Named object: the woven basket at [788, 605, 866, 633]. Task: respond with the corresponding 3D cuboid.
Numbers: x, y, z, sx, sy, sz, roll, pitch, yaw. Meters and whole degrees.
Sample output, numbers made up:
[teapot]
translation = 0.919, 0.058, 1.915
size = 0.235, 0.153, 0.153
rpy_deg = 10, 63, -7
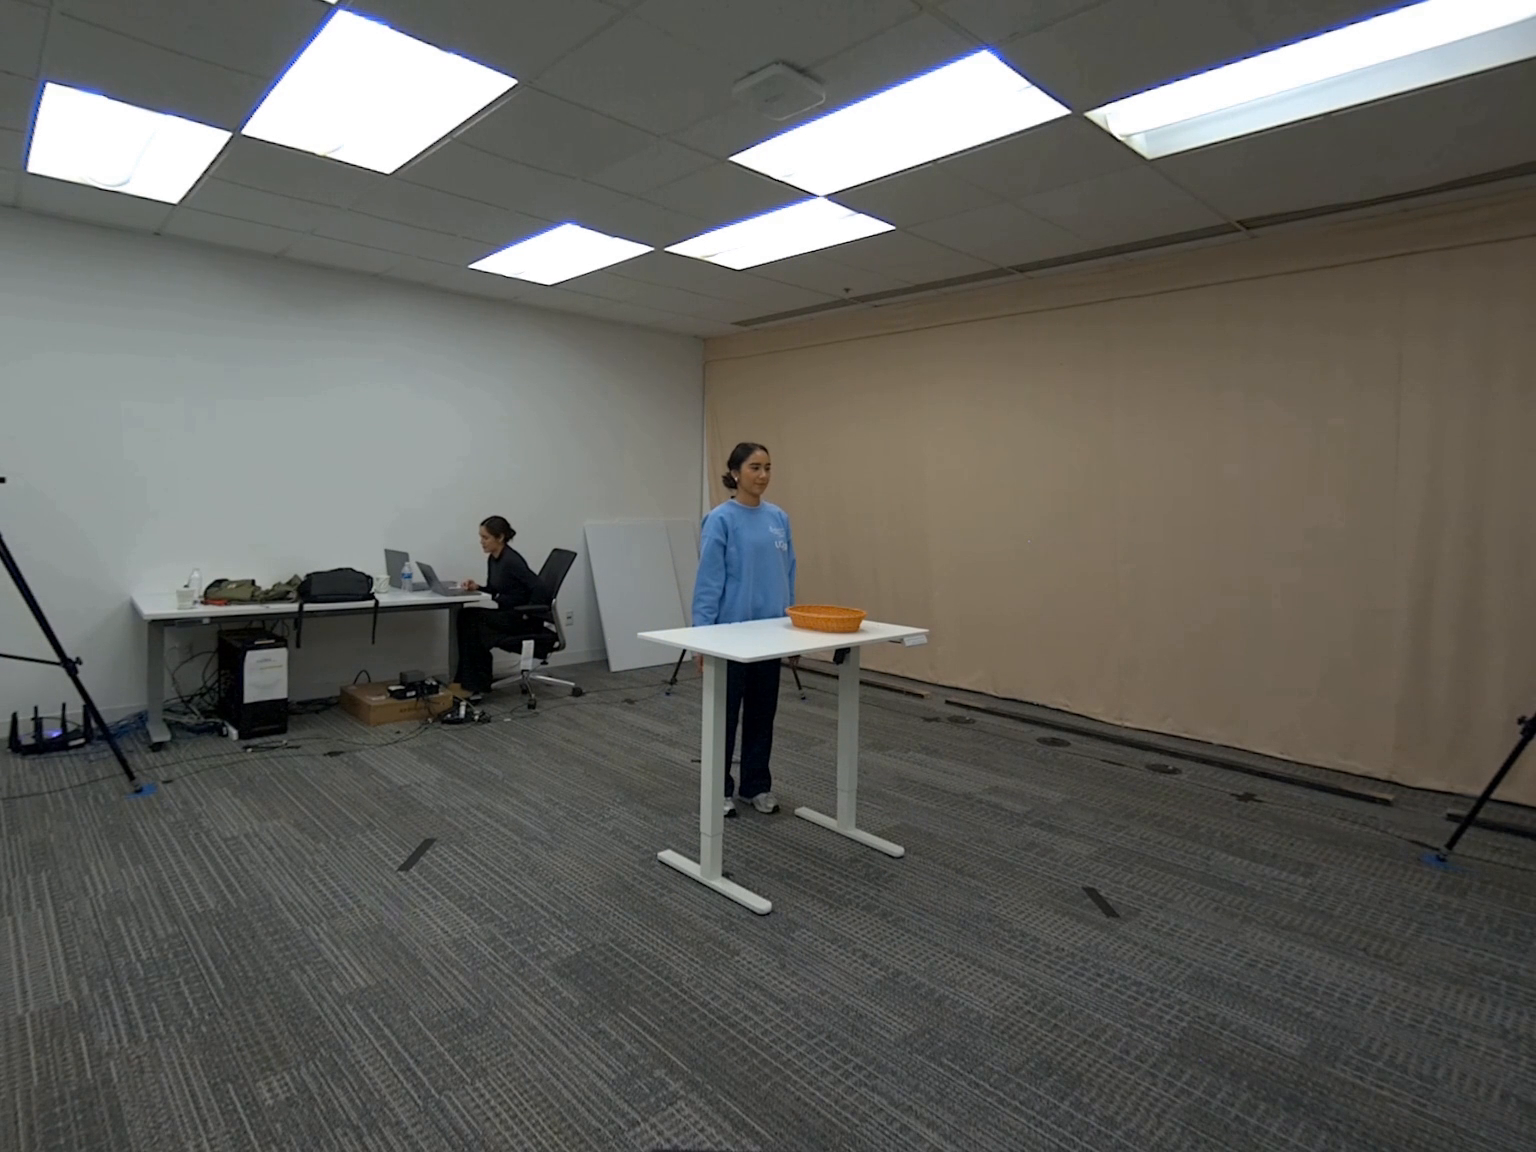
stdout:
[woven basket]
translation = 0.233, 0.180, 3.333
size = 0.247, 0.073, 0.359
rpy_deg = -6, 8, -42
